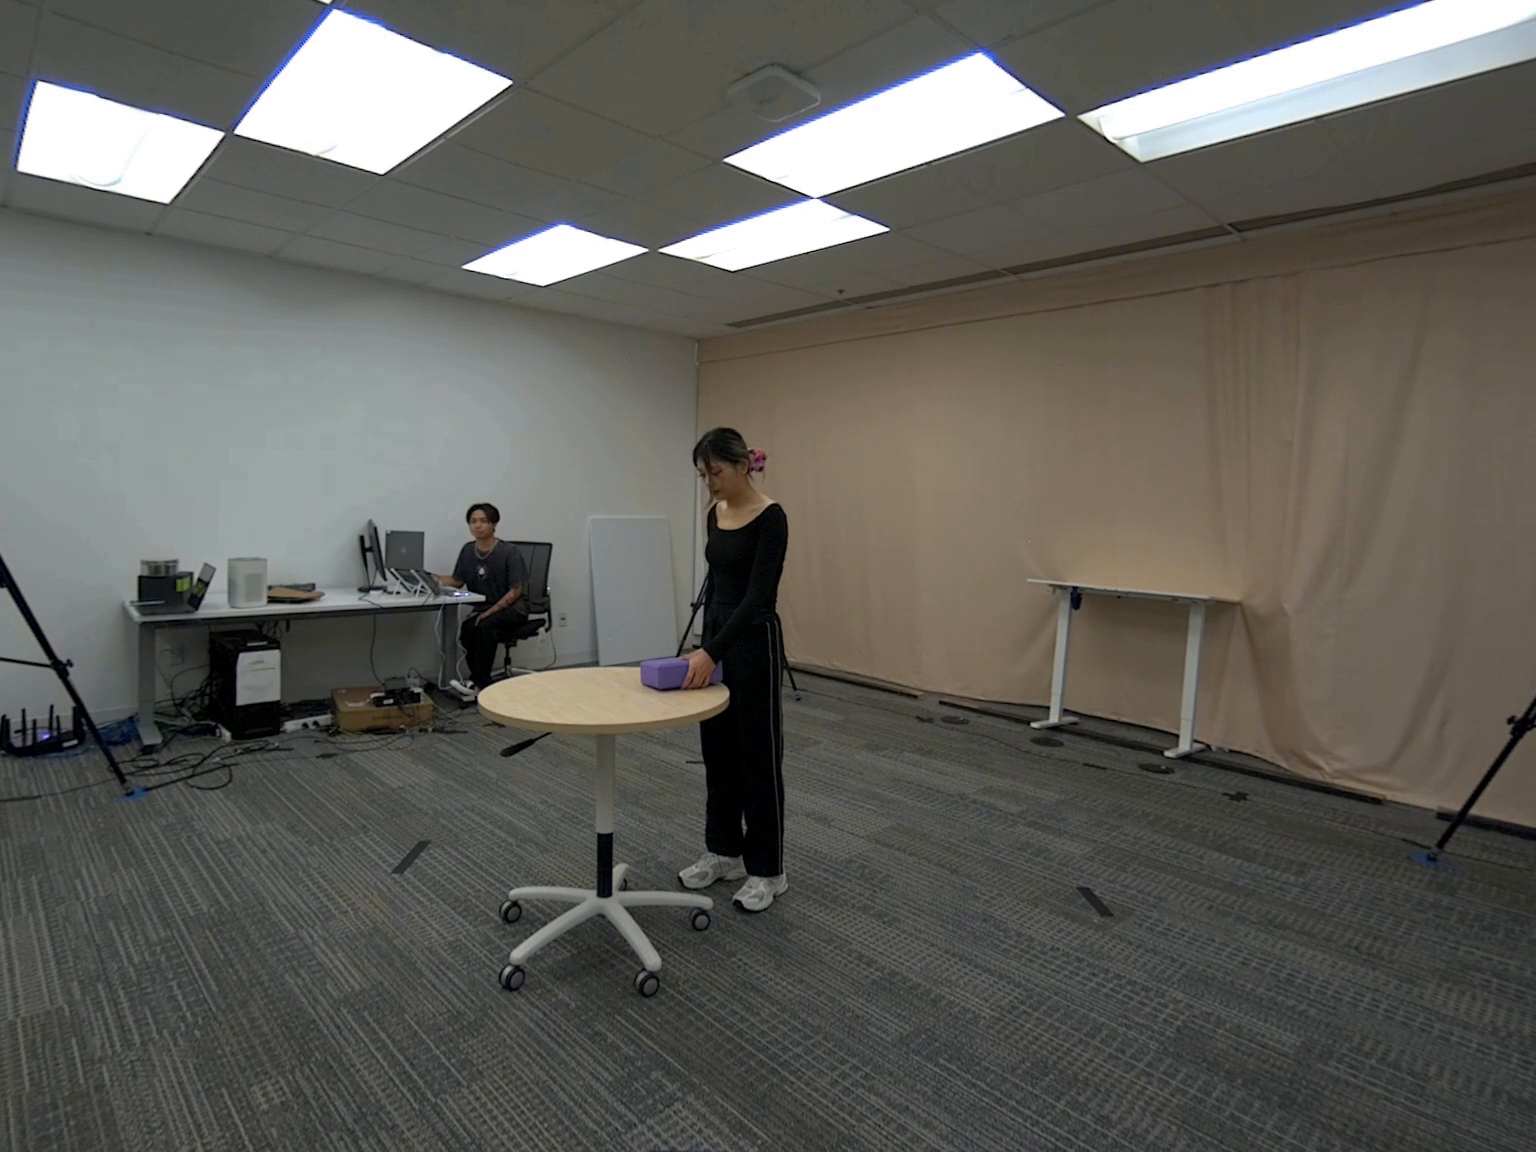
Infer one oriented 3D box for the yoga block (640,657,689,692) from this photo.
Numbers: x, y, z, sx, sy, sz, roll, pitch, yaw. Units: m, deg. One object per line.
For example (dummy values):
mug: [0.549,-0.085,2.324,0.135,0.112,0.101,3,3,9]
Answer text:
yoga block: [-0.289,0.312,2.695,0.225,0.076,0.151,-1,0,-26]
